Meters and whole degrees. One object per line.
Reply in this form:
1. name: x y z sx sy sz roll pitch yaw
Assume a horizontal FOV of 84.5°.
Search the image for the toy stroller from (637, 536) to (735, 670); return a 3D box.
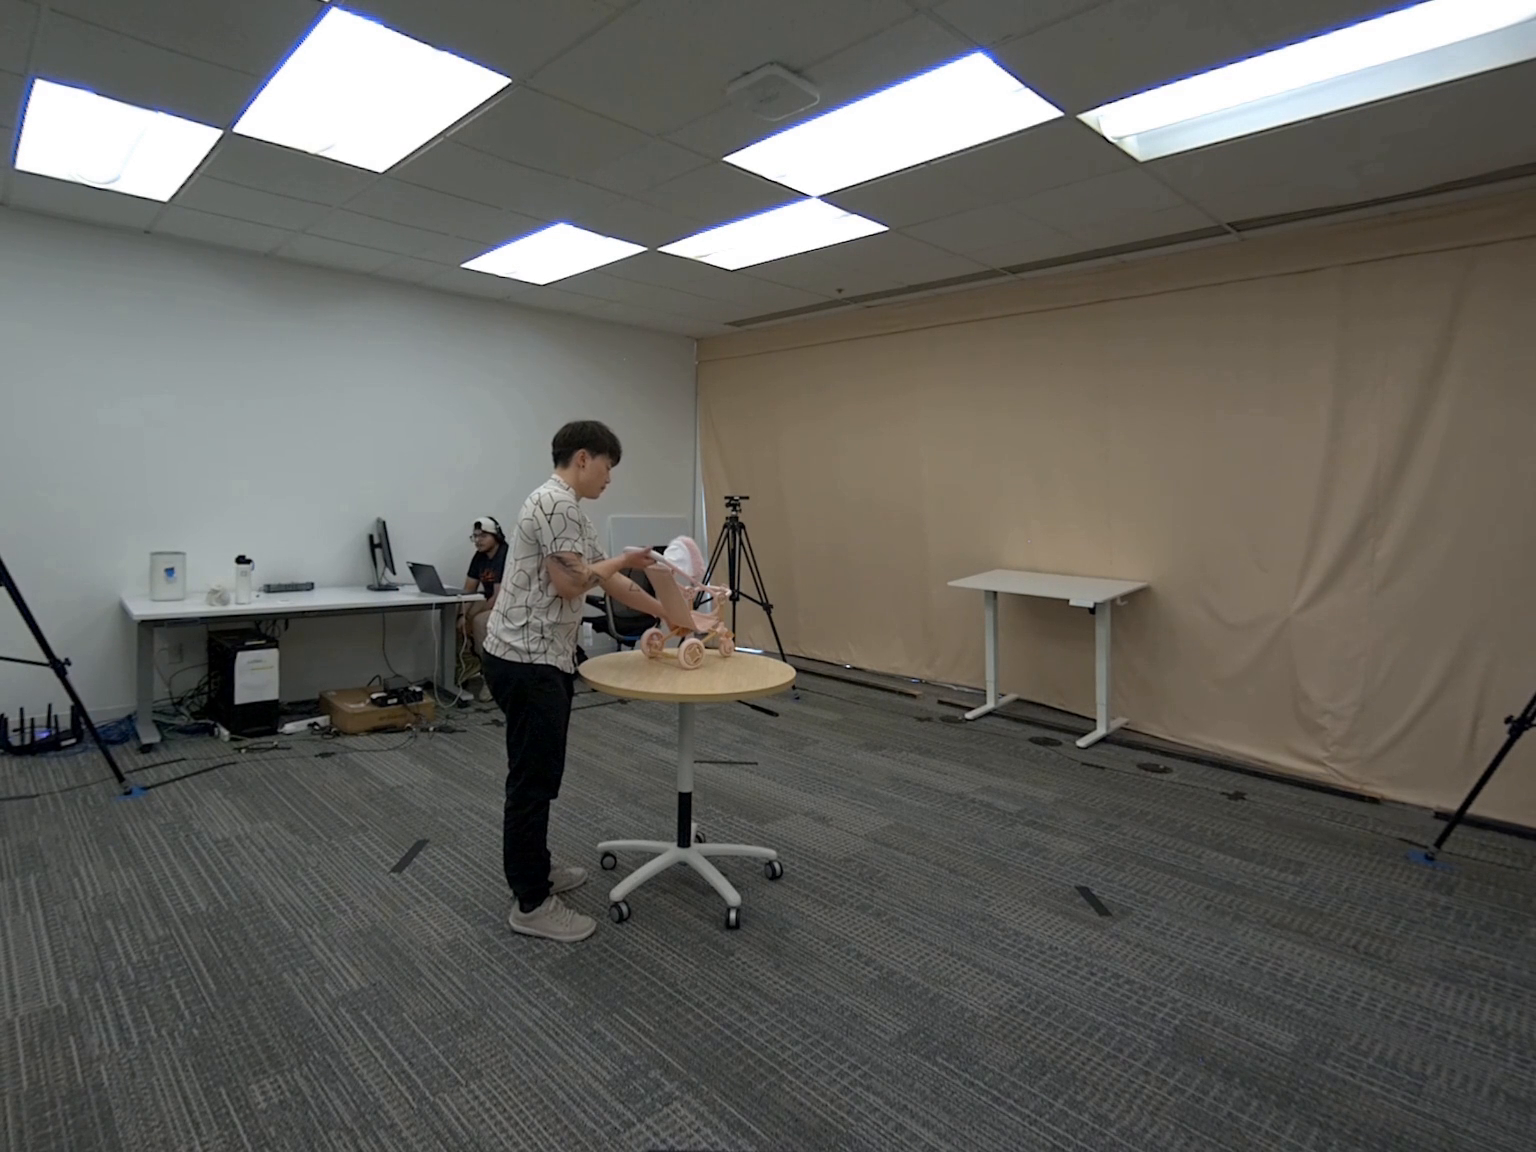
1. toy stroller: -0.303 0.095 3.084 0.337 0.529 0.288 -21 17 -34
